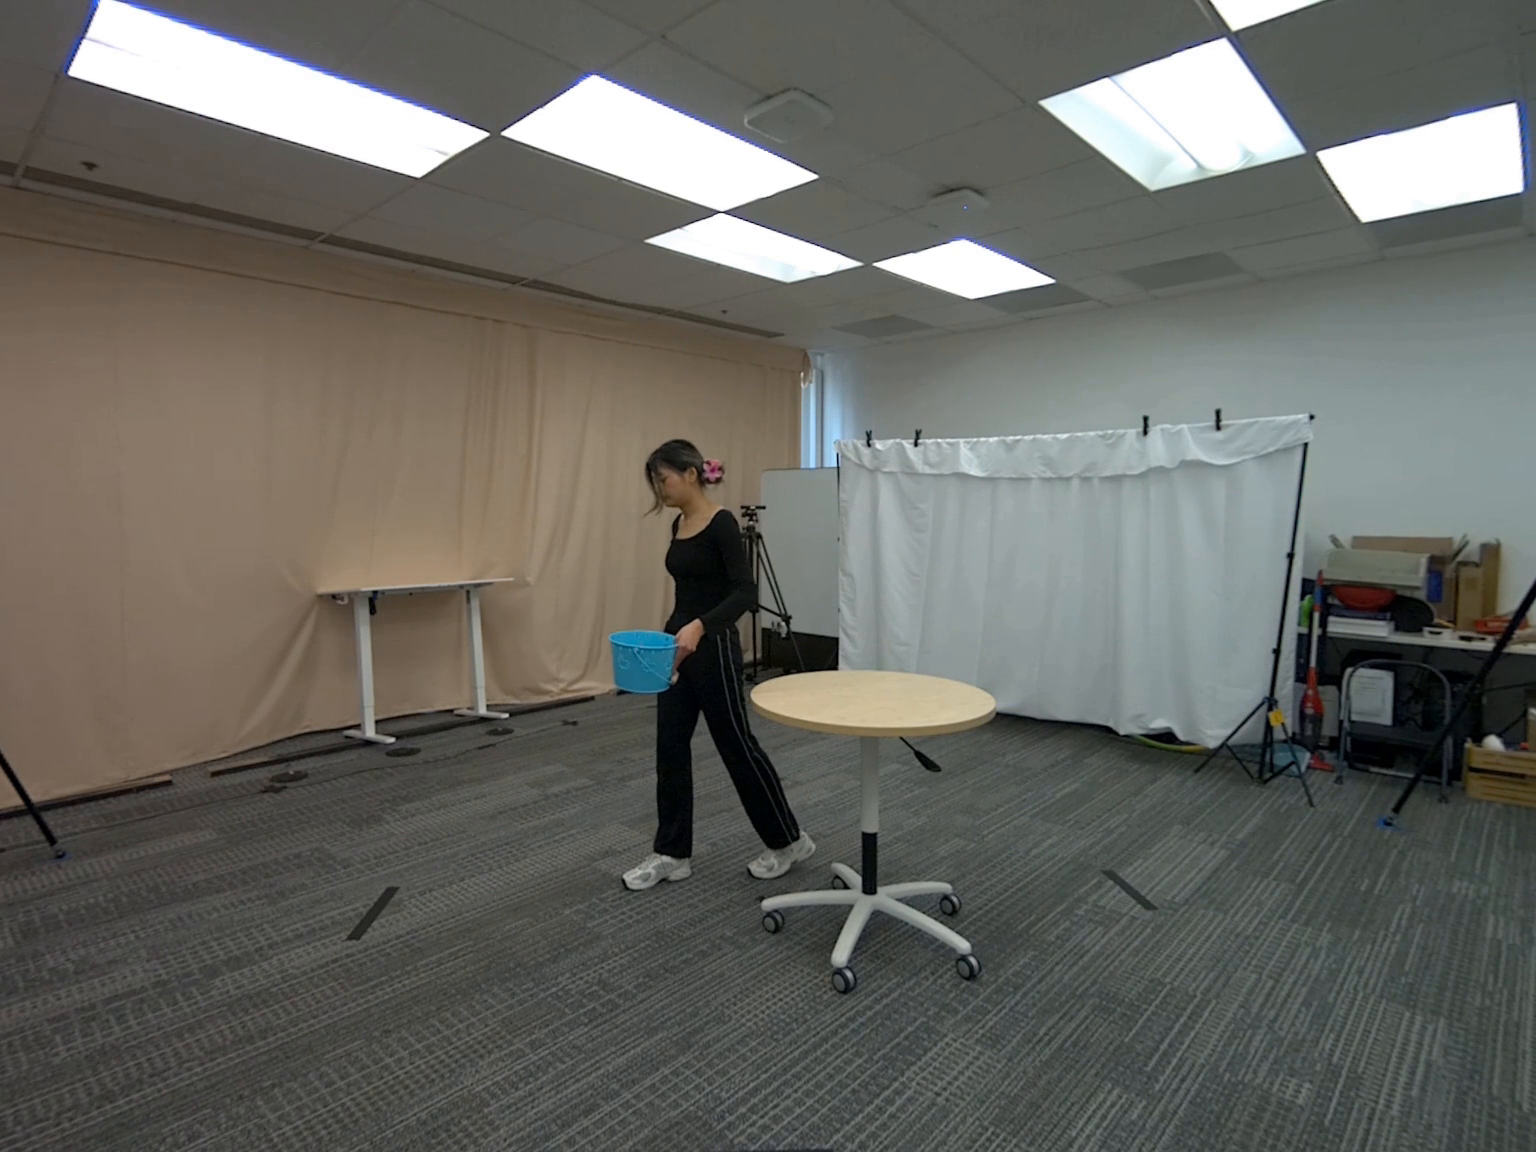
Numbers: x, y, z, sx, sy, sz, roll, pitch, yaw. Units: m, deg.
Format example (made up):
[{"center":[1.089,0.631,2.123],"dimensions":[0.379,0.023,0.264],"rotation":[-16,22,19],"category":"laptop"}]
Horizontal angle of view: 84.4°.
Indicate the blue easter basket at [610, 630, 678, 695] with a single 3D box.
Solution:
[{"center":[-0.401,0.279,2.720],"dimensions":[0.243,0.155,0.245],"rotation":[4,8,-2],"category":"blue easter basket"}]
